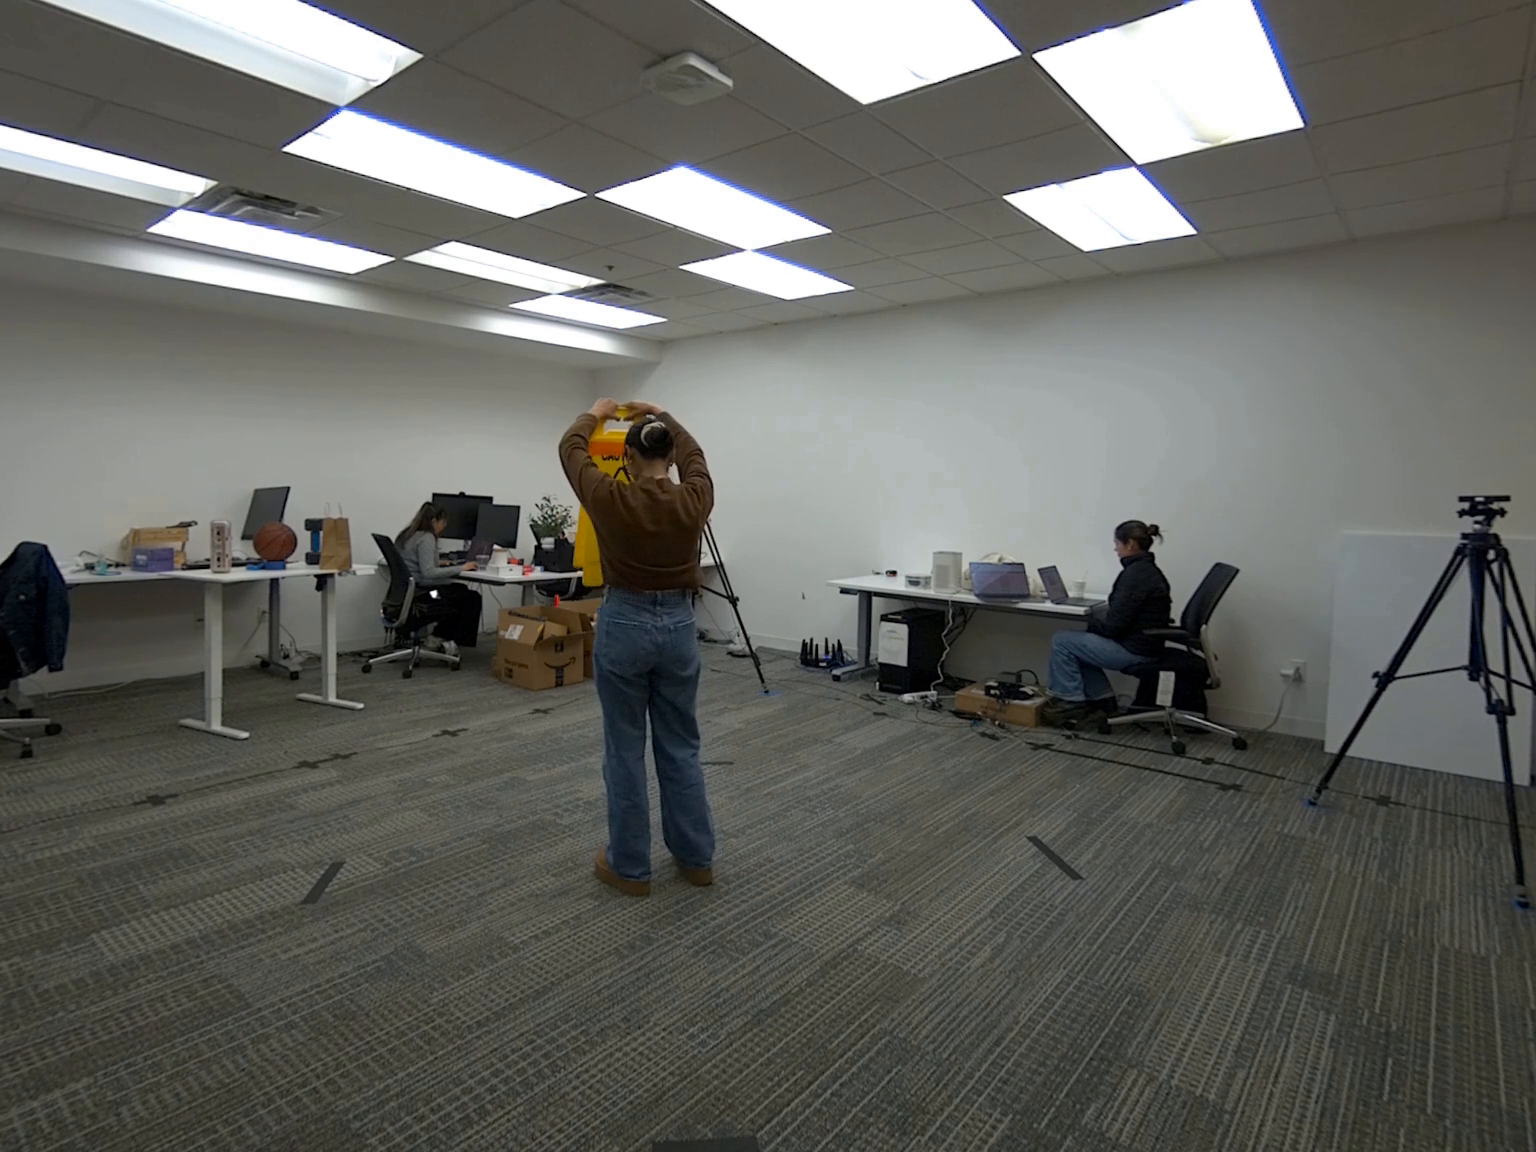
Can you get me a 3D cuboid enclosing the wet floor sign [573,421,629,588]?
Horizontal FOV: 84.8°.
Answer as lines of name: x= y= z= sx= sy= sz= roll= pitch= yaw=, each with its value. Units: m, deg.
wet floor sign: x=-0.581 y=-0.307 z=3.242 sx=0.277 sy=0.639 sz=0.298 roll=0 pitch=13 yaw=-20
